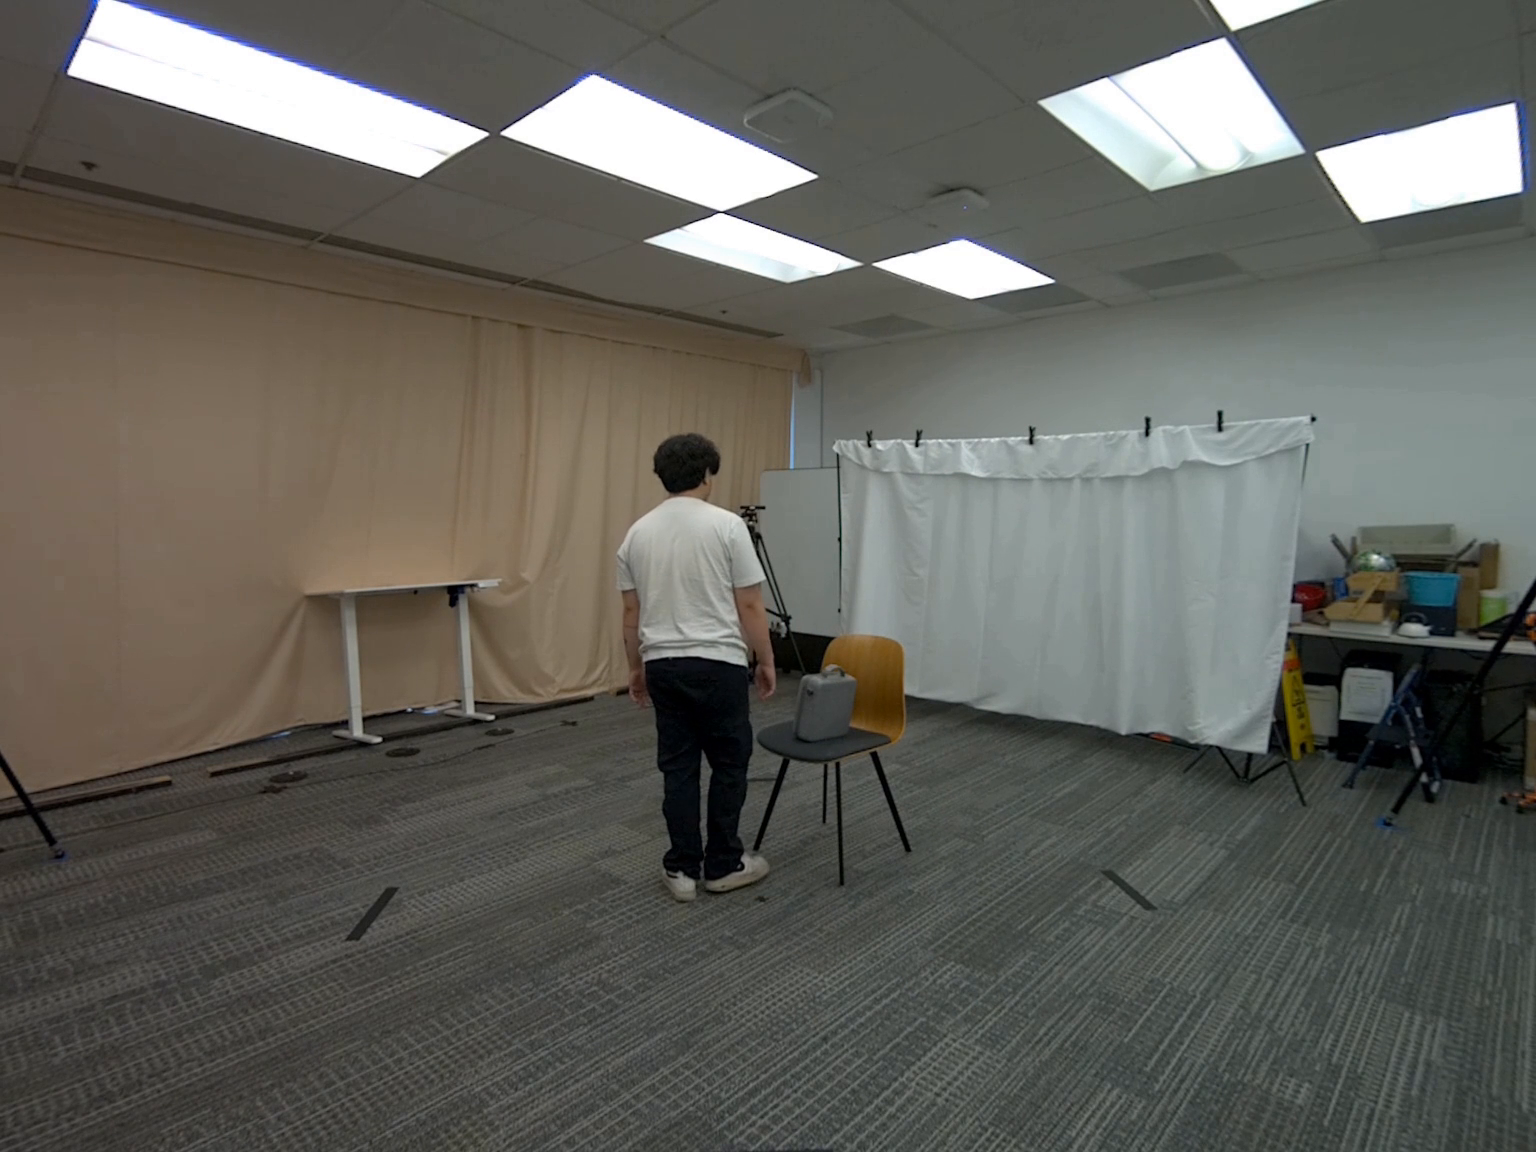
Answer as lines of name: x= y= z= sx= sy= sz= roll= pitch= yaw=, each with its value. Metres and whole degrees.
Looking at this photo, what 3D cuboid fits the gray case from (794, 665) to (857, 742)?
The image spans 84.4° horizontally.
gray case: x=0.230 y=0.511 z=3.324 sx=0.248 sy=0.260 sz=0.108 roll=1 pitch=11 yaw=-45
